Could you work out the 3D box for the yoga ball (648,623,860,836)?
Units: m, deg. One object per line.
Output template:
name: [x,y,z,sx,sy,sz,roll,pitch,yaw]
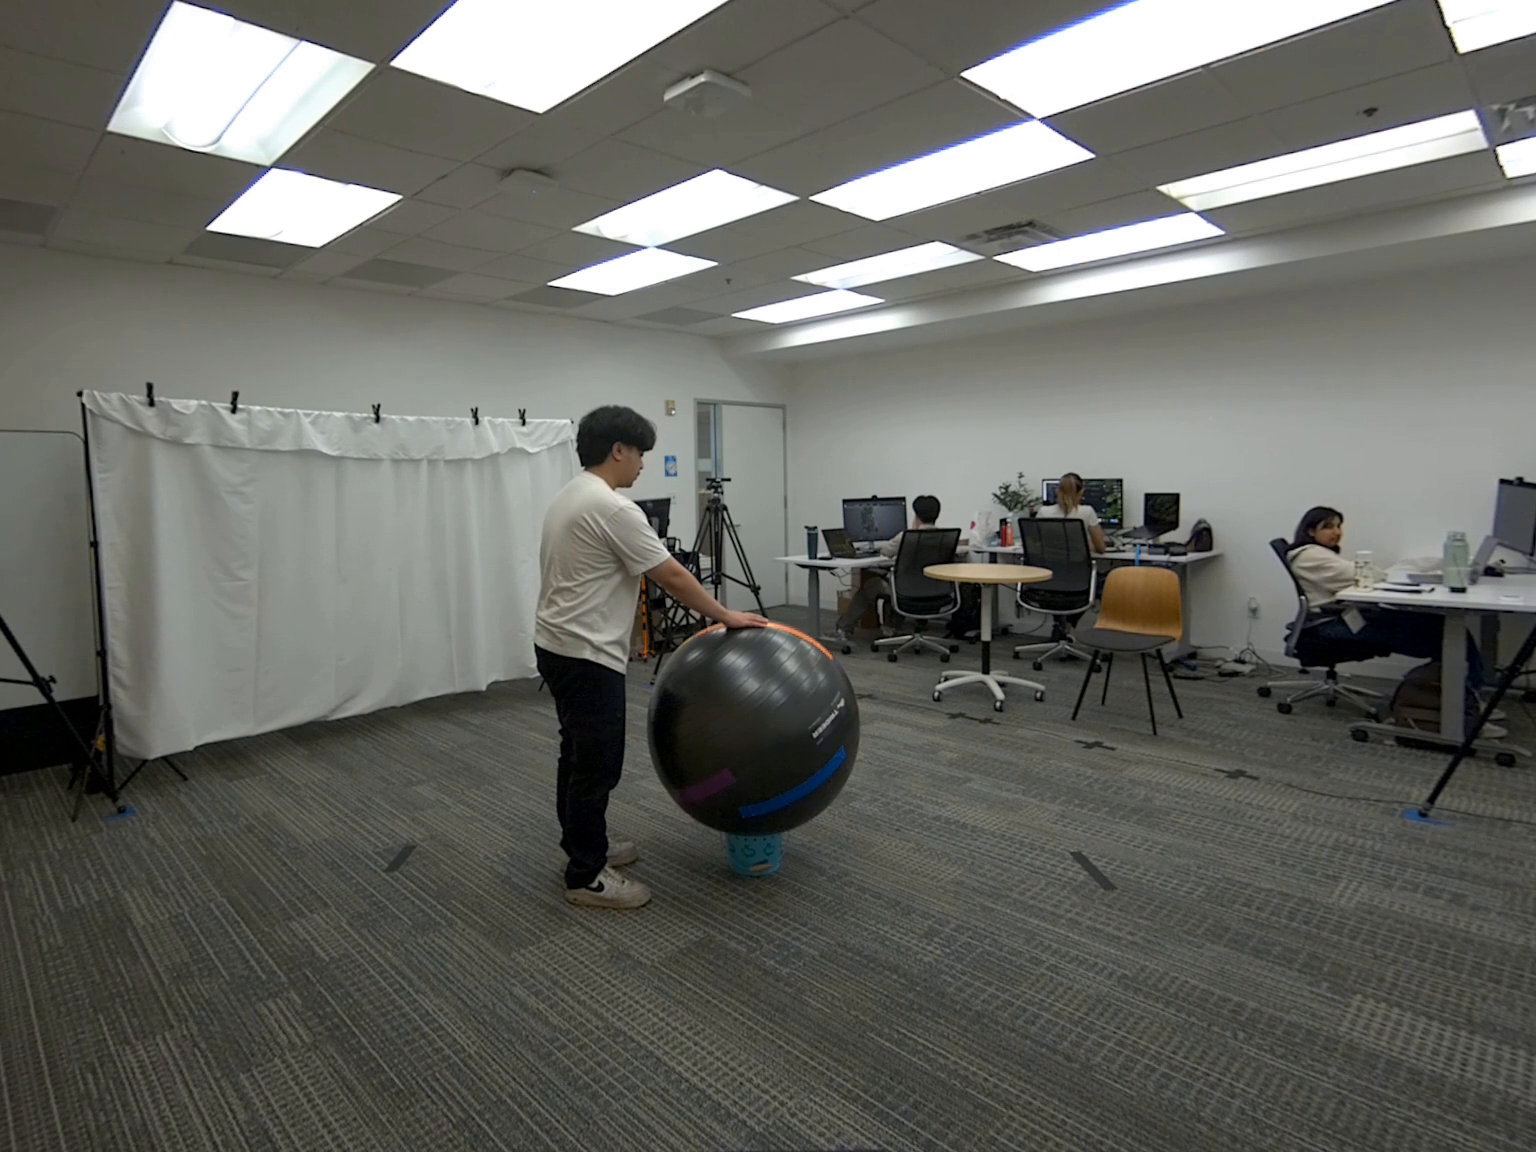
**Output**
yoga ball: [-0.049,0.540,3.058,0.757,0.755,0.762,-1,5,-2]
